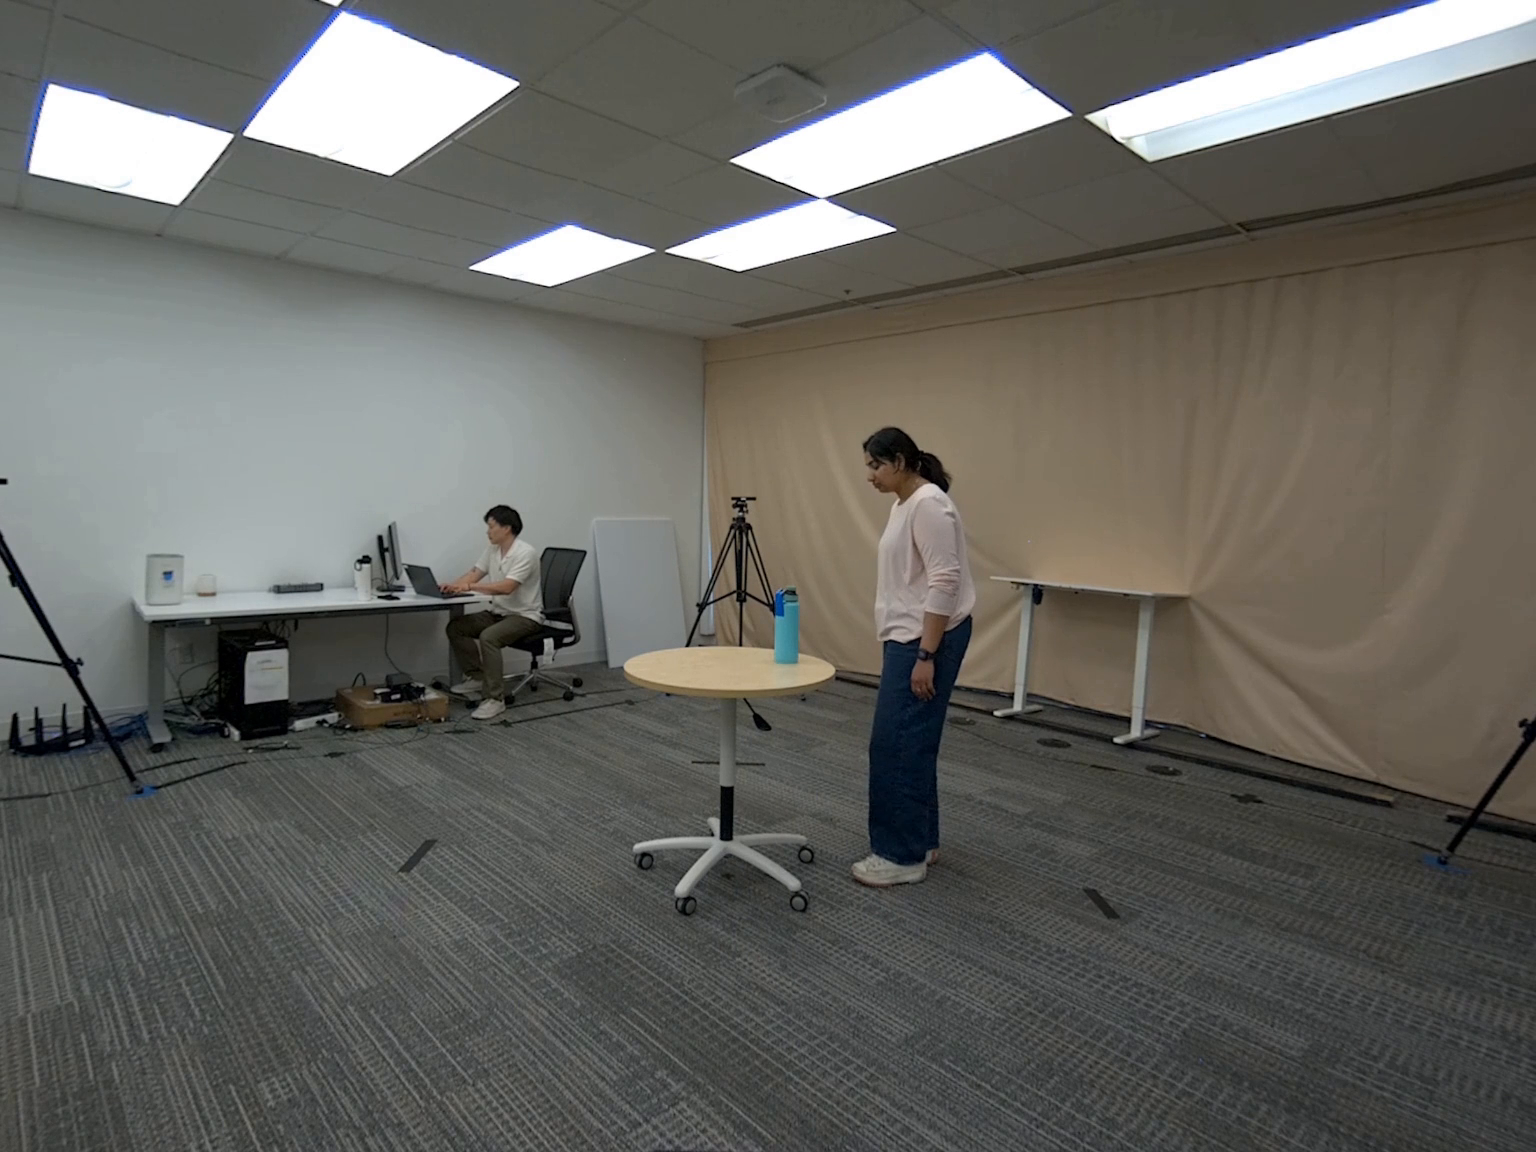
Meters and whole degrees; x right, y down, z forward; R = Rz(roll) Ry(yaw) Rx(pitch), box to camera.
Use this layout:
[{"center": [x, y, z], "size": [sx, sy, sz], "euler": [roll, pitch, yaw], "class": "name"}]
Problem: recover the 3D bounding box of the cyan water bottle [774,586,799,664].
[{"center": [0.067, 0.181, 3.153], "size": [0.092, 0.283, 0.092], "euler": [1, 3, -1], "class": "cyan water bottle"}]
